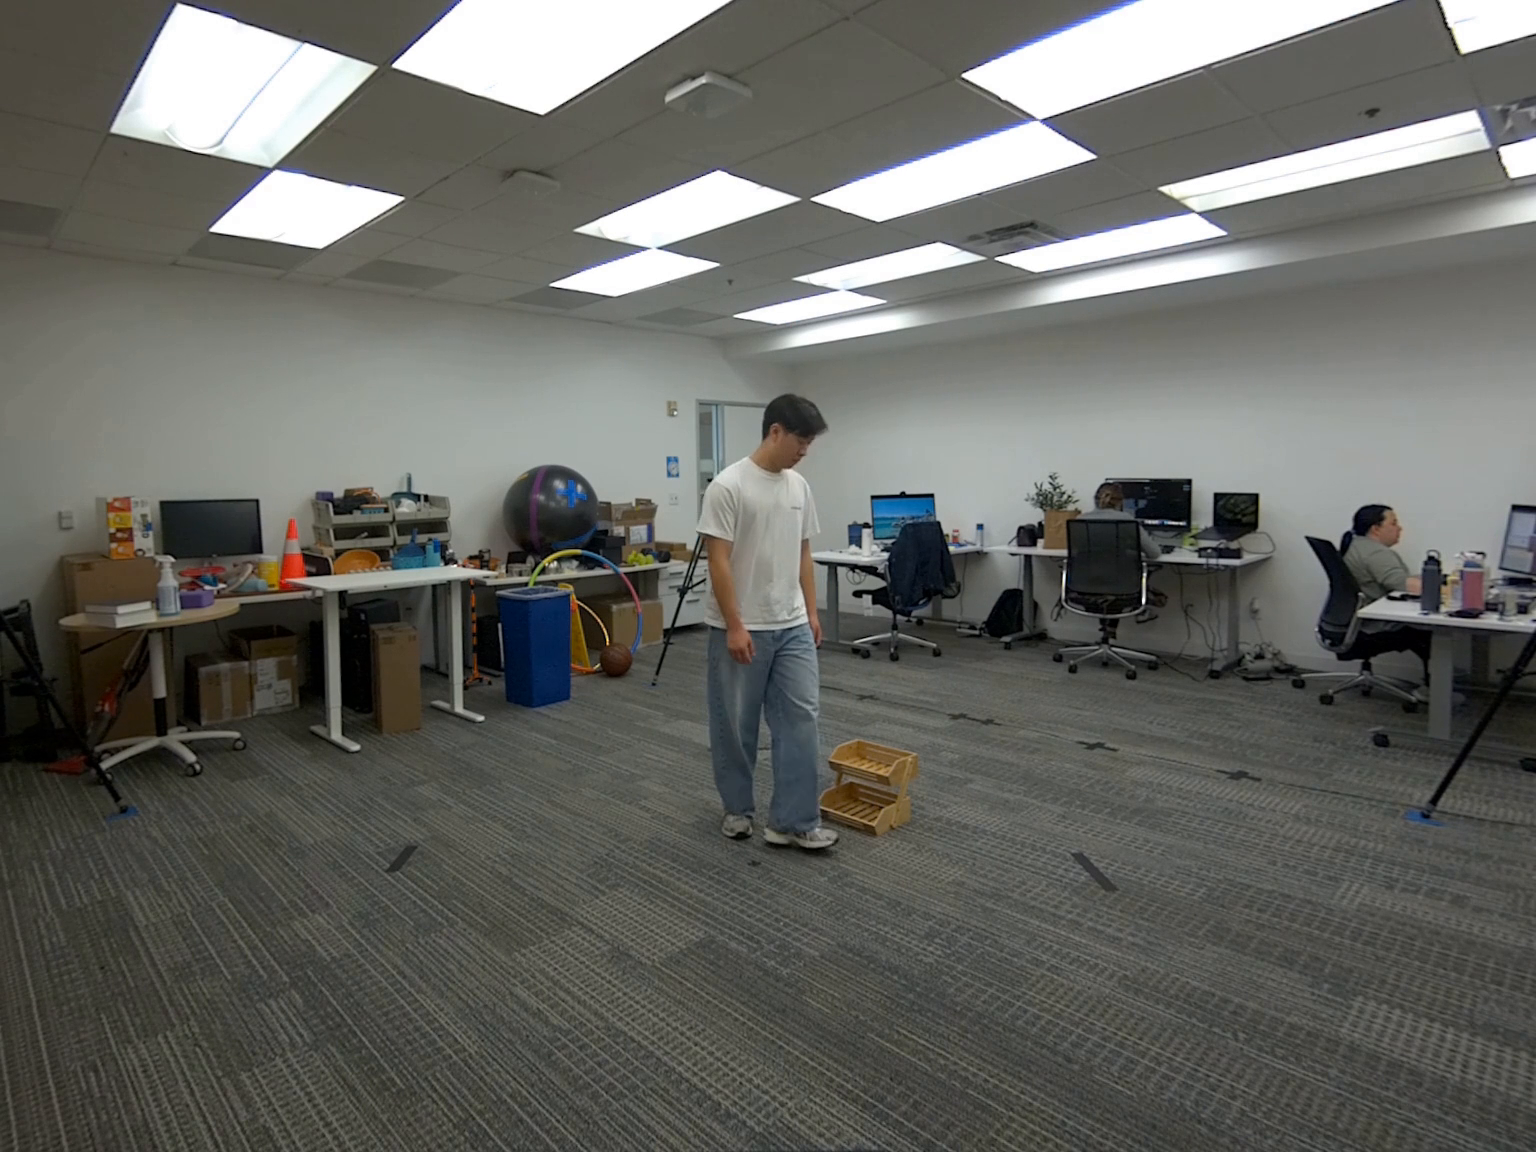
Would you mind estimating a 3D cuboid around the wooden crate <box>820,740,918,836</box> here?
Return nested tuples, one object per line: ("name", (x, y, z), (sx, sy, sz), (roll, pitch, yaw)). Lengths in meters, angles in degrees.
("wooden crate", (0.403, 0.856, 3.514), (0.334, 0.272, 0.294), (4, 6, 44))
